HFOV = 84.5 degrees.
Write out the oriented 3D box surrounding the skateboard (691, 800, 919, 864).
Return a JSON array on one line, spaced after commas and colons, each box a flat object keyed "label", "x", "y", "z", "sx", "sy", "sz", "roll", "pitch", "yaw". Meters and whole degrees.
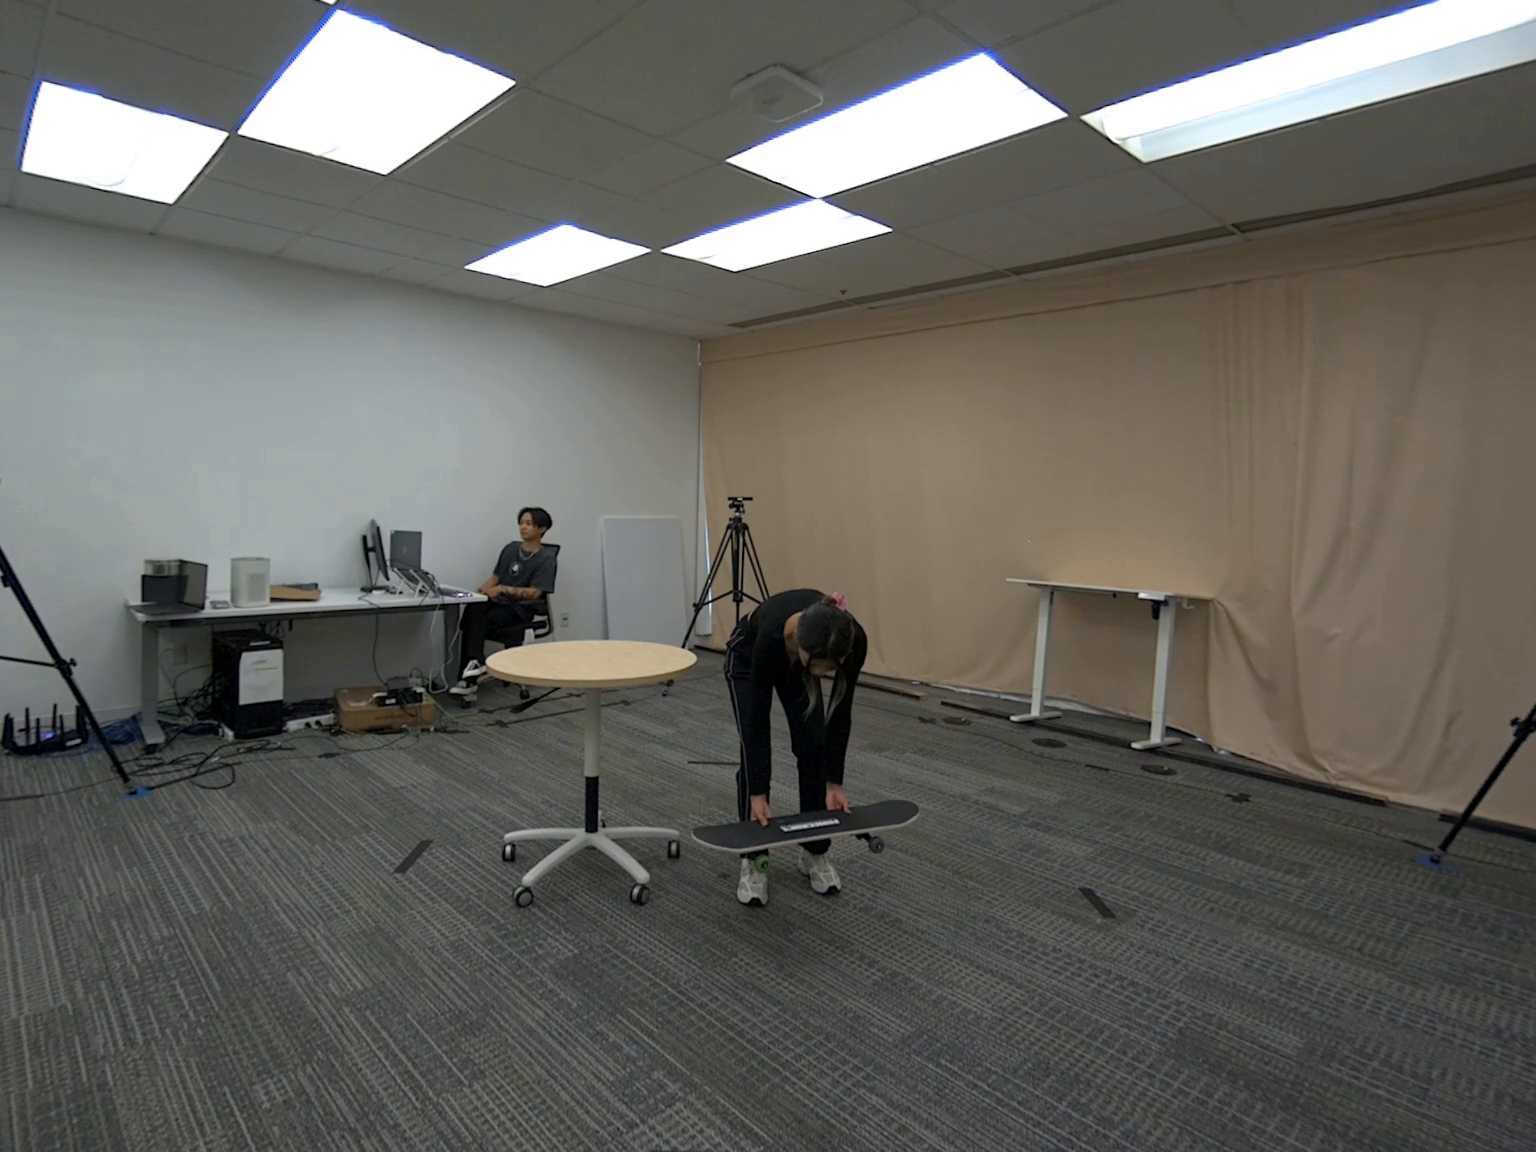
[{"label": "skateboard", "x": 0.137, "y": 0.825, "z": 2.669, "sx": 0.773, "sy": 0.110, "sz": 0.197, "roll": -1, "pitch": 3, "yaw": -21}]
